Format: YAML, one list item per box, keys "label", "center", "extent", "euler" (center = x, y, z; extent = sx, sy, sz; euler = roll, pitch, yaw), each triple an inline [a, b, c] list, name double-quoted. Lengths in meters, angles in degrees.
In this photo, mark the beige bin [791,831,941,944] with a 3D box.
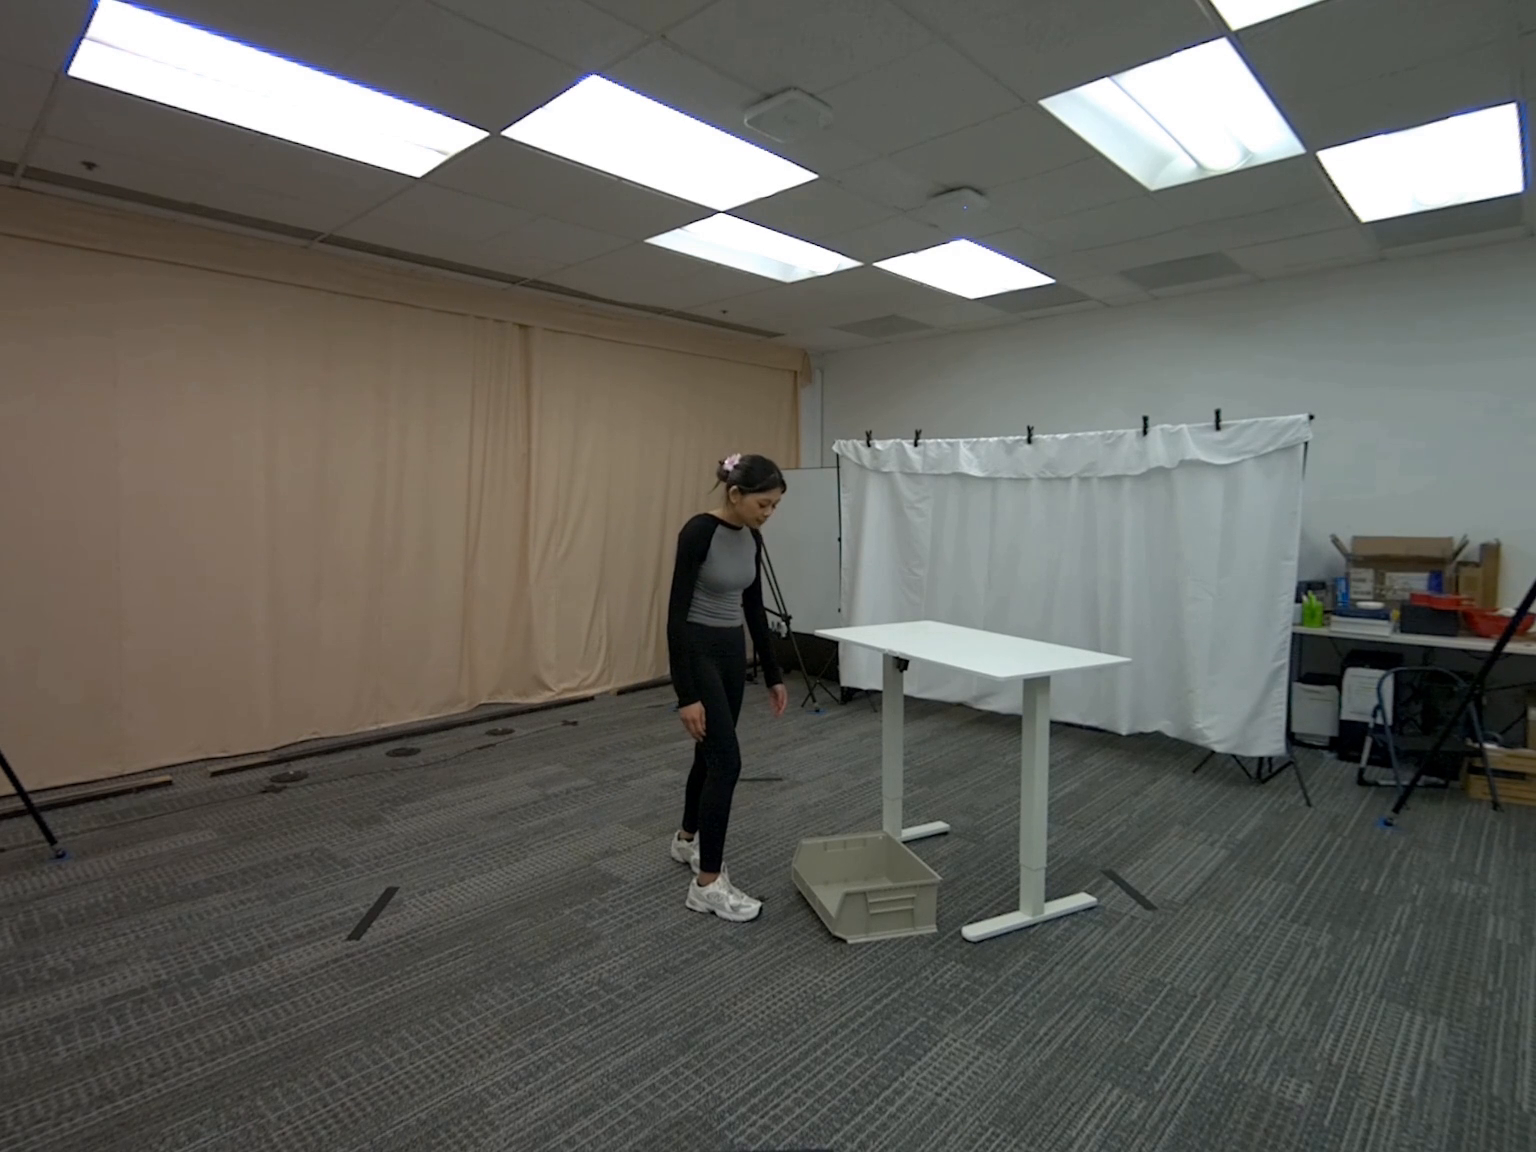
- label: "beige bin"
  center: [0.329, 1.058, 2.898]
  extent: [0.371, 0.188, 0.430]
  euler: [-1, 4, -17]
